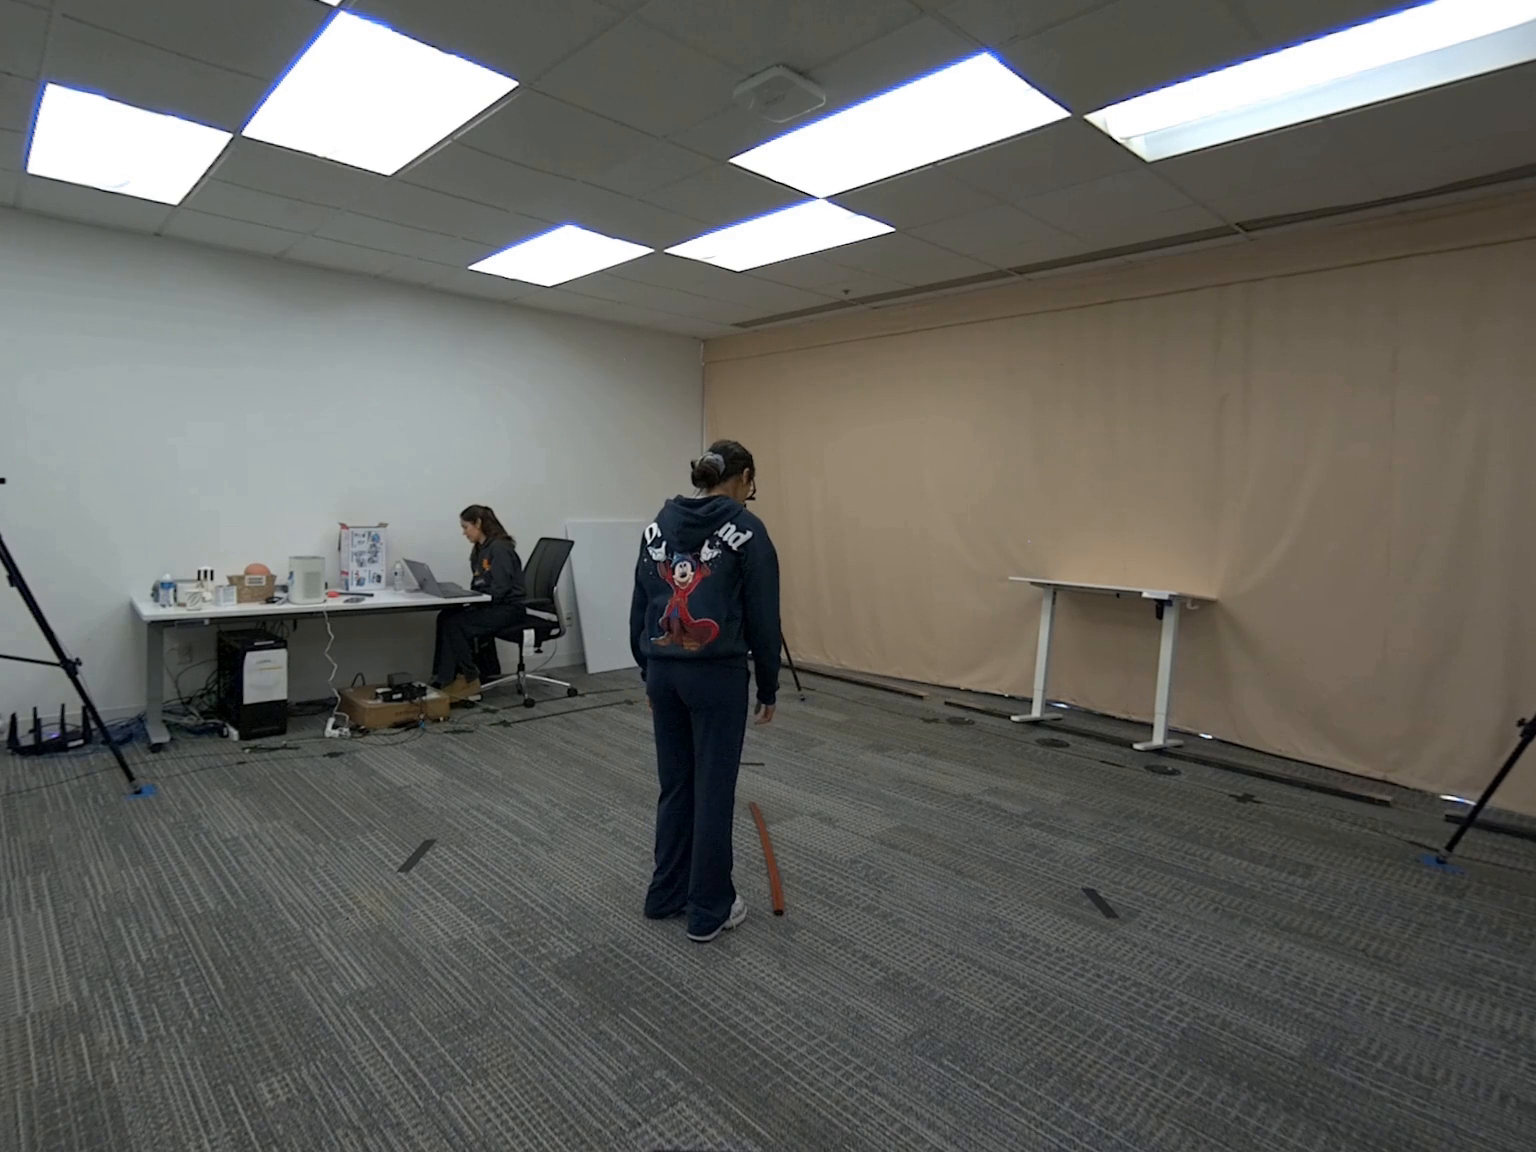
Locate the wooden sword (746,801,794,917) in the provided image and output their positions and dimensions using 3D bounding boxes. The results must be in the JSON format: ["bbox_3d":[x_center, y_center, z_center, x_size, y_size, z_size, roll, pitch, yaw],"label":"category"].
[{"bbox_3d":[-0.008,1.076,3.324,0.051,0.024,1.032,2,5,-7],"label":"wooden sword"}]
